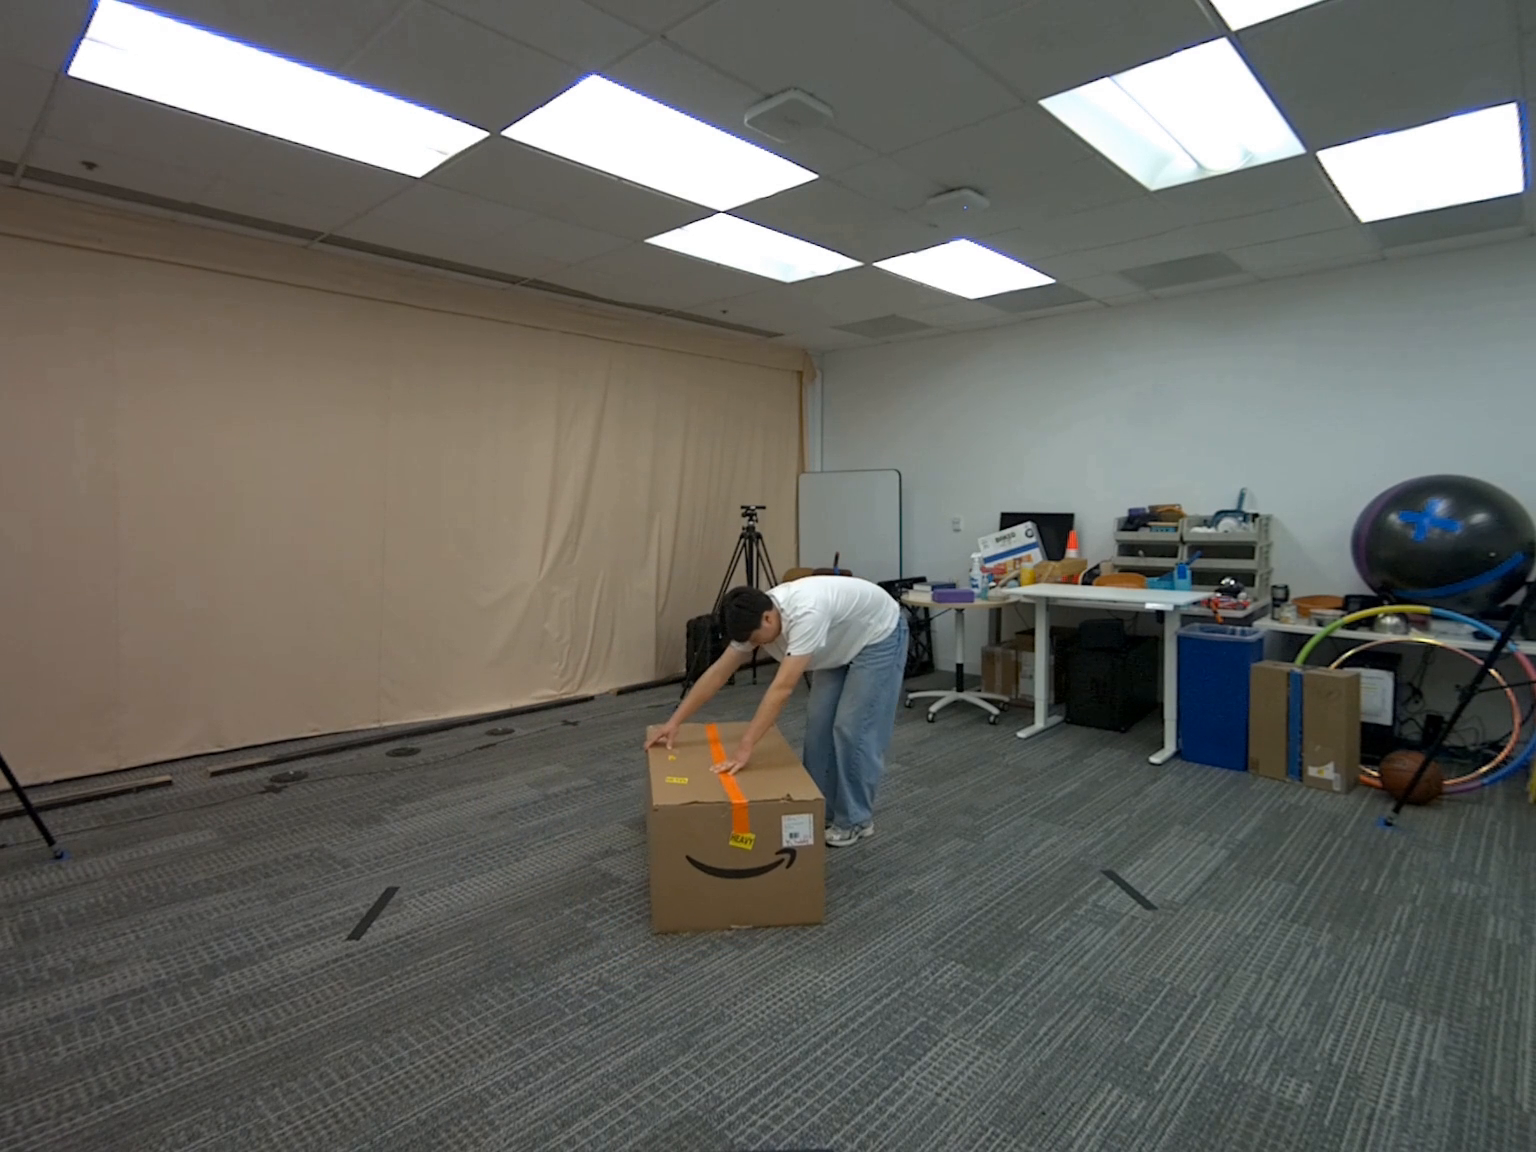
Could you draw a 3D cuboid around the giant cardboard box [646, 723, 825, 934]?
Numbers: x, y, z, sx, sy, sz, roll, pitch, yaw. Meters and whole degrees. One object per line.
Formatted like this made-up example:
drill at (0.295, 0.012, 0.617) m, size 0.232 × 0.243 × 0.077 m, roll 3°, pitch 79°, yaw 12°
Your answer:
giant cardboard box at (-0.174, 0.908, 3.256) m, size 0.573 × 0.425 × 1.037 m, roll -1°, pitch 4°, yaw -9°
